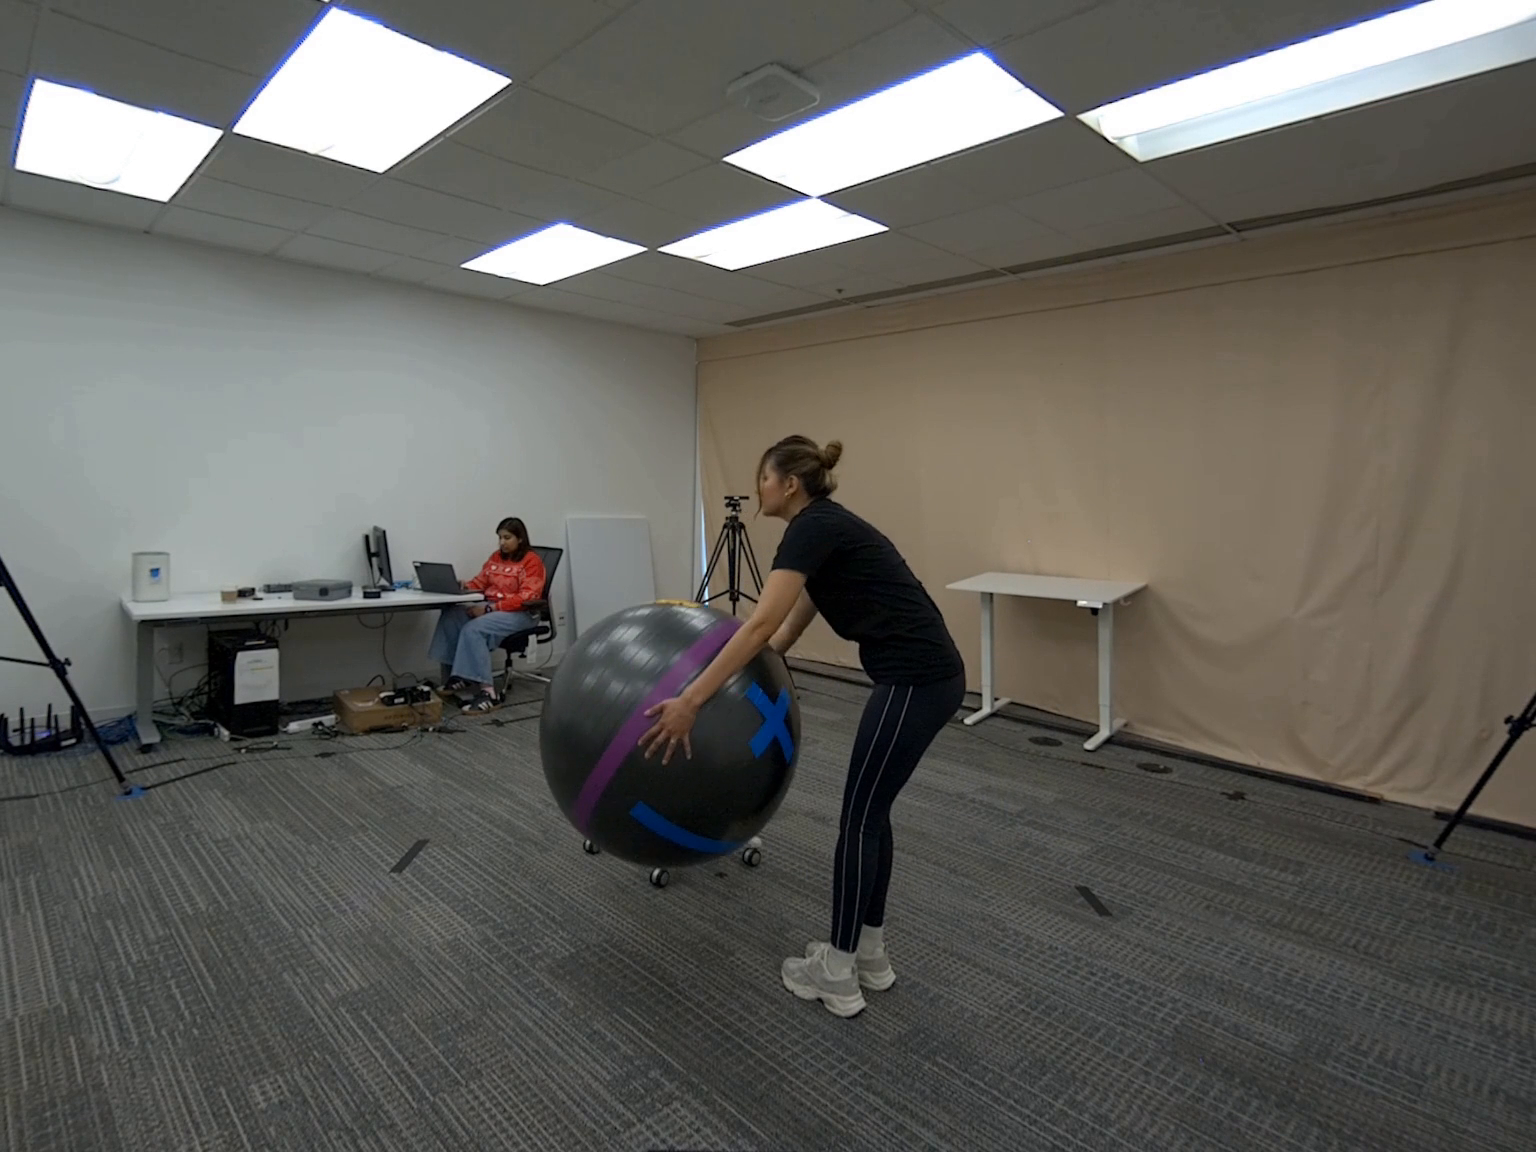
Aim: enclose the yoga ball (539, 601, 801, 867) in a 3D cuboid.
[{"bbox_3d":[-0.285,0.450,2.452,0.757,0.756,0.761,1,4,-1],"label":"yoga ball"}]
